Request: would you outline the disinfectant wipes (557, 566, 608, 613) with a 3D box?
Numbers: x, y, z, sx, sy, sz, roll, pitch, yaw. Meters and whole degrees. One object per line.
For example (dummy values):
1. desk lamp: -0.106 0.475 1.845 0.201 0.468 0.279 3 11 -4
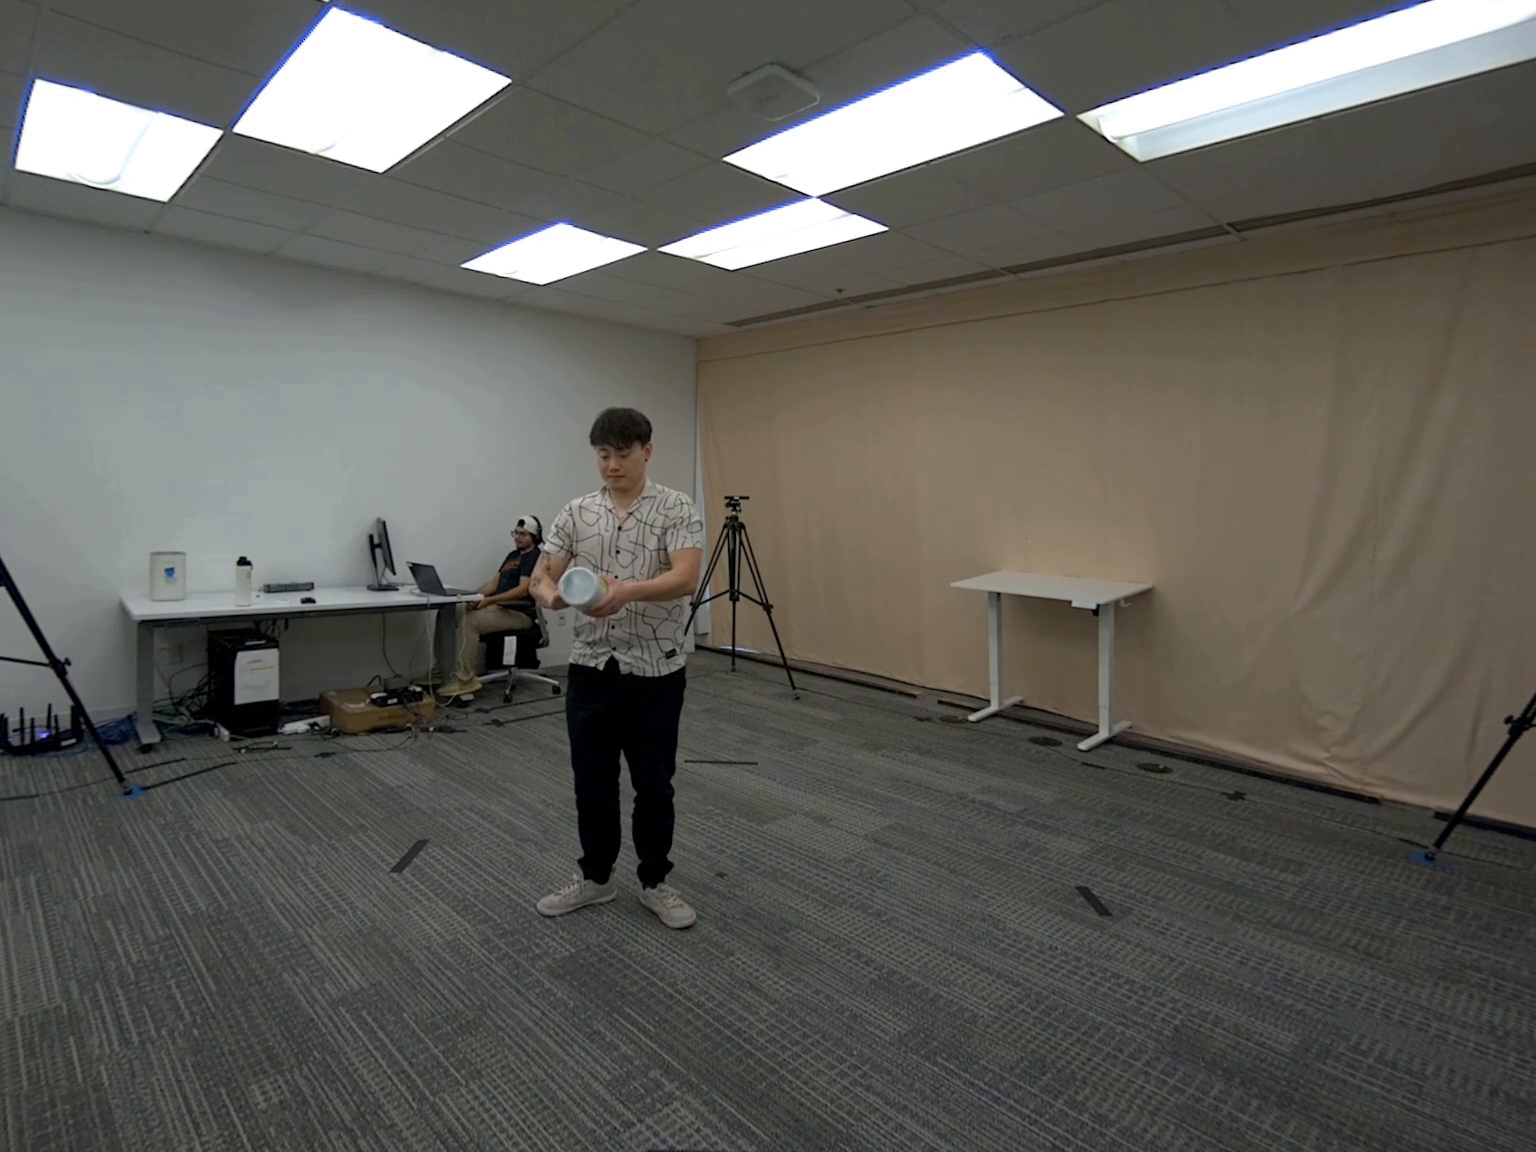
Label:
1. disinfectant wipes: -0.527 0.046 2.381 0.118 0.119 0.215 2 -10 4
